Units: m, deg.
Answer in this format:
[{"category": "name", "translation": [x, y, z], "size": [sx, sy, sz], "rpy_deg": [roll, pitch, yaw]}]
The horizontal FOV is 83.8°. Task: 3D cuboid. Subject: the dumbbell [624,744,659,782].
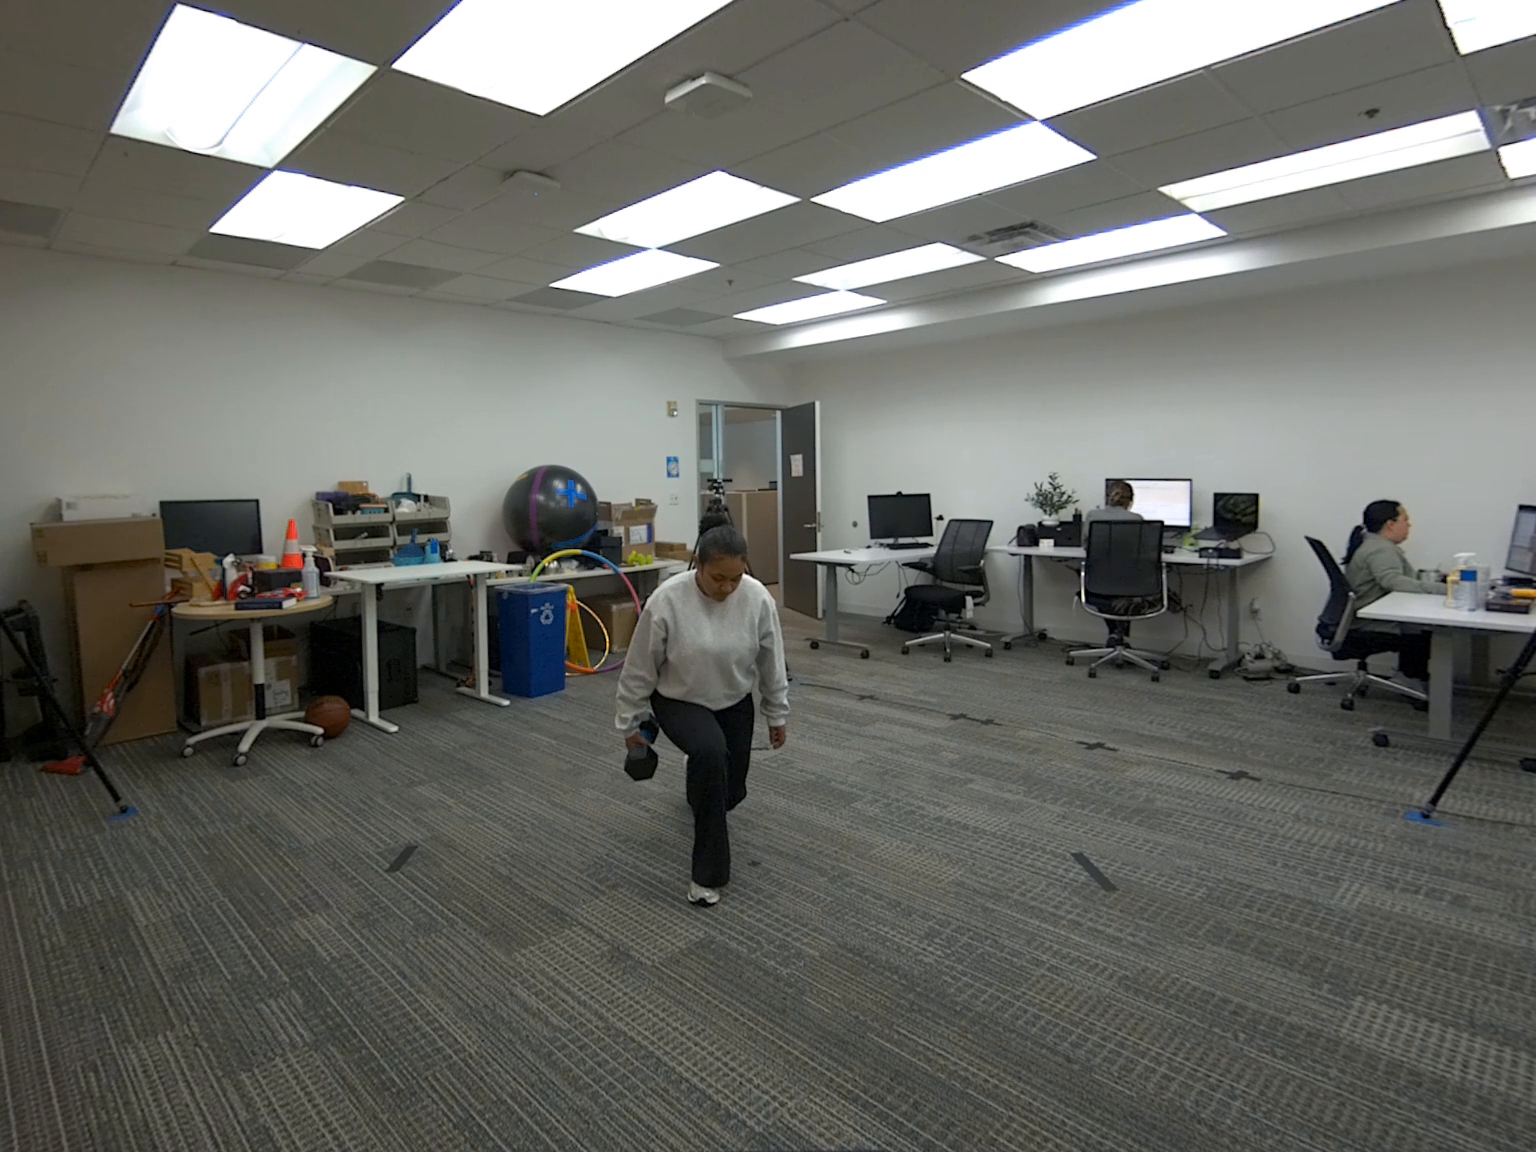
[{"category": "dumbbell", "translation": [-0.456, 0.624, 3.135], "size": [0.107, 0.122, 0.300], "rpy_deg": [19, 20, -13]}]
